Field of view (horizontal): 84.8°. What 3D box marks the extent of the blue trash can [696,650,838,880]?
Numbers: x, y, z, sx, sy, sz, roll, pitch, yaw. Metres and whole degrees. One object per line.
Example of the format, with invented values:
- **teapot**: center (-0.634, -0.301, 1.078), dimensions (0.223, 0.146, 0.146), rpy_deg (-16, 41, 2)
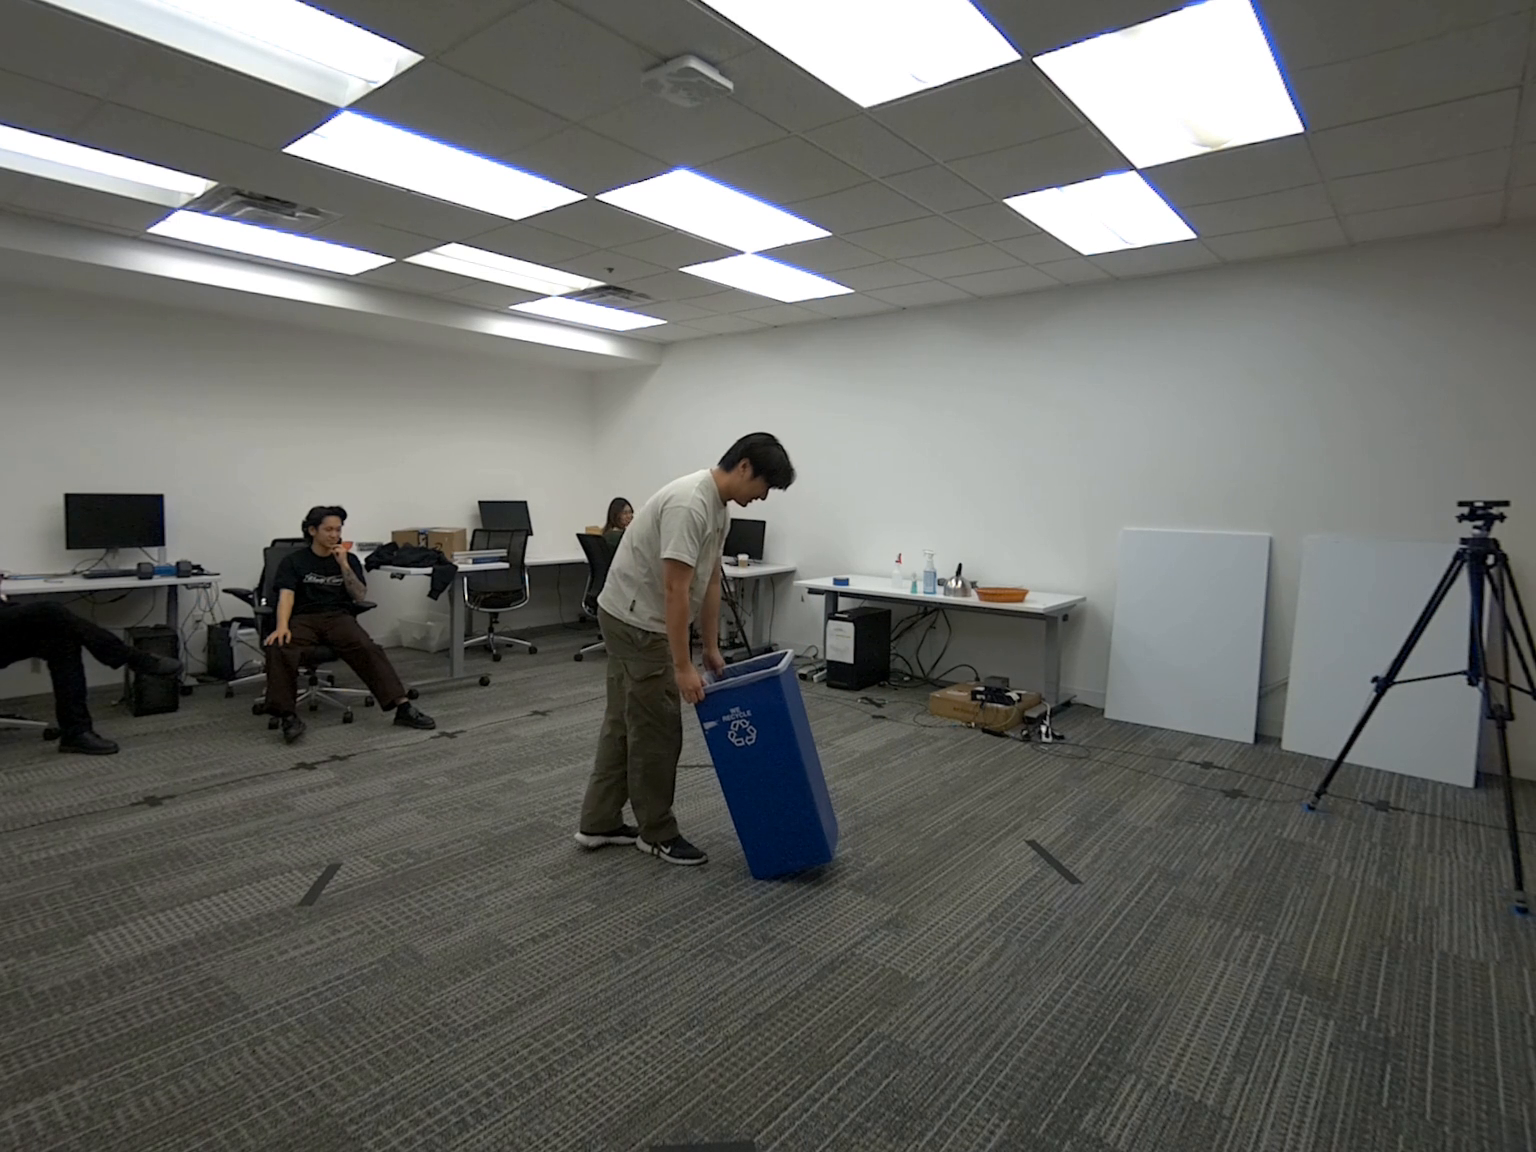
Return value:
- **blue trash can**: center (0.002, 0.687, 3.159), dimensions (0.377, 0.715, 0.375), rpy_deg (-18, -1, 11)
